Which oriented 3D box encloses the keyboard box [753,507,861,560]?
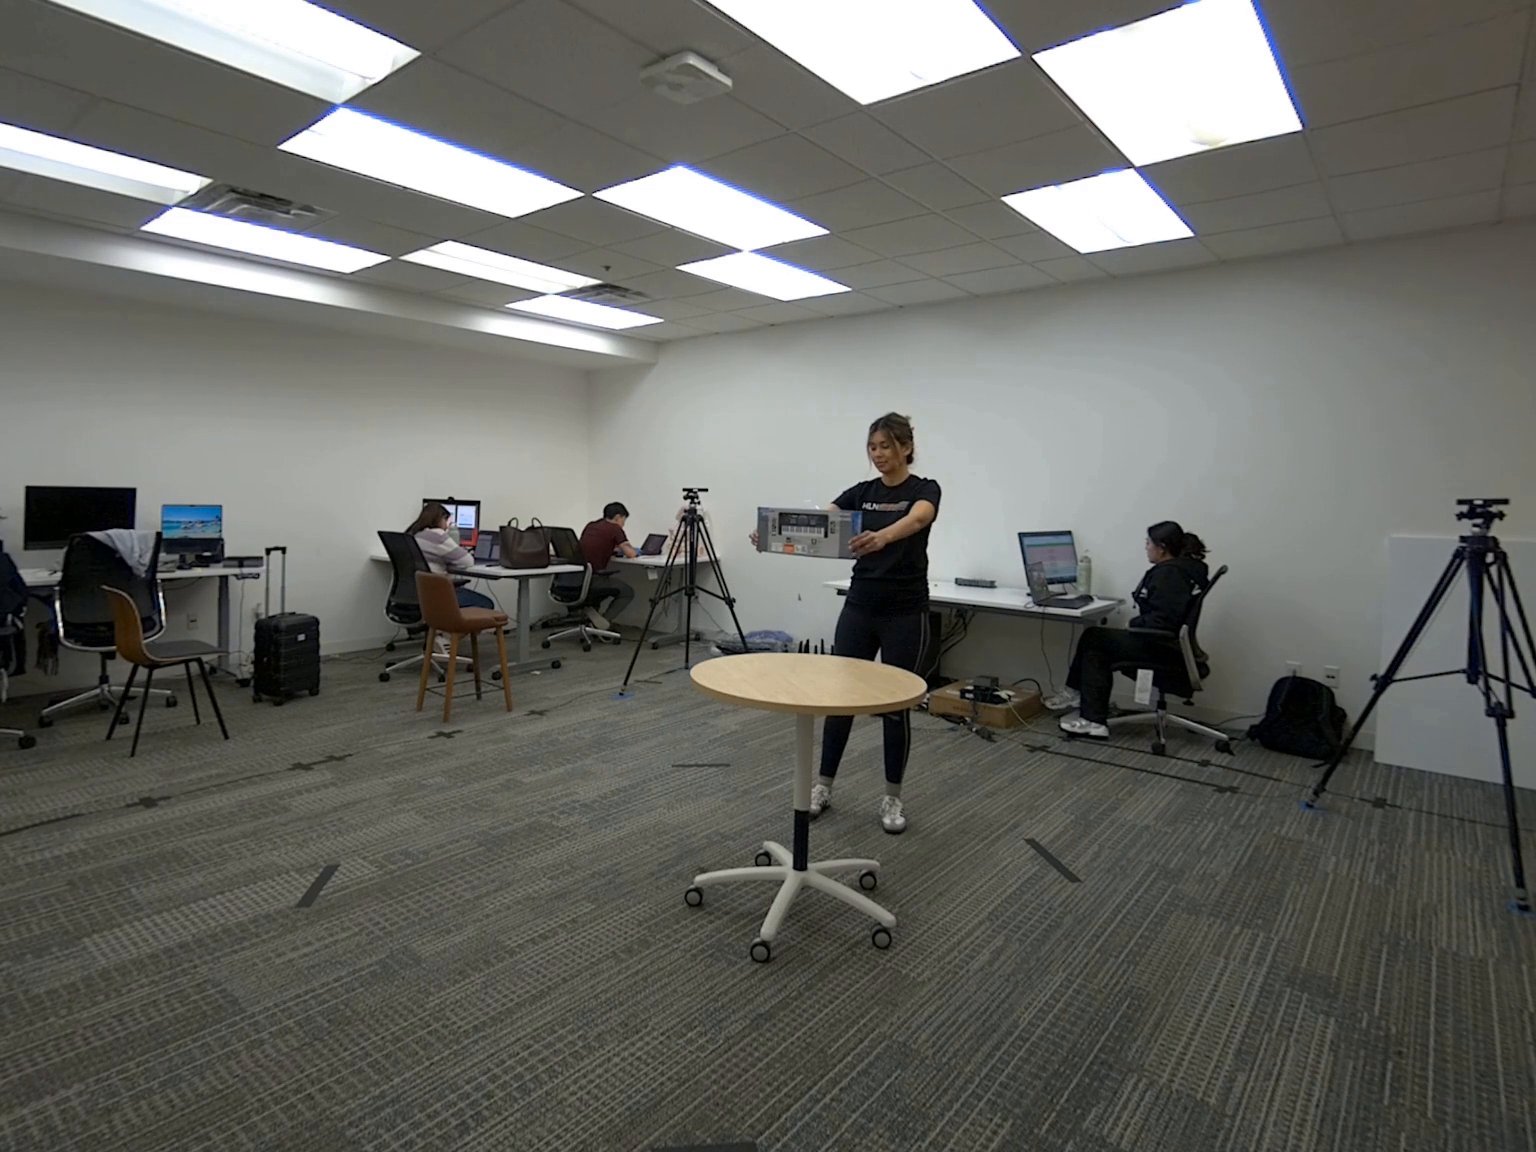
[{"bbox_3d":[0.137,-0.166,3.161,0.452,0.175,0.057,6,7,40],"label":"keyboard box"}]
